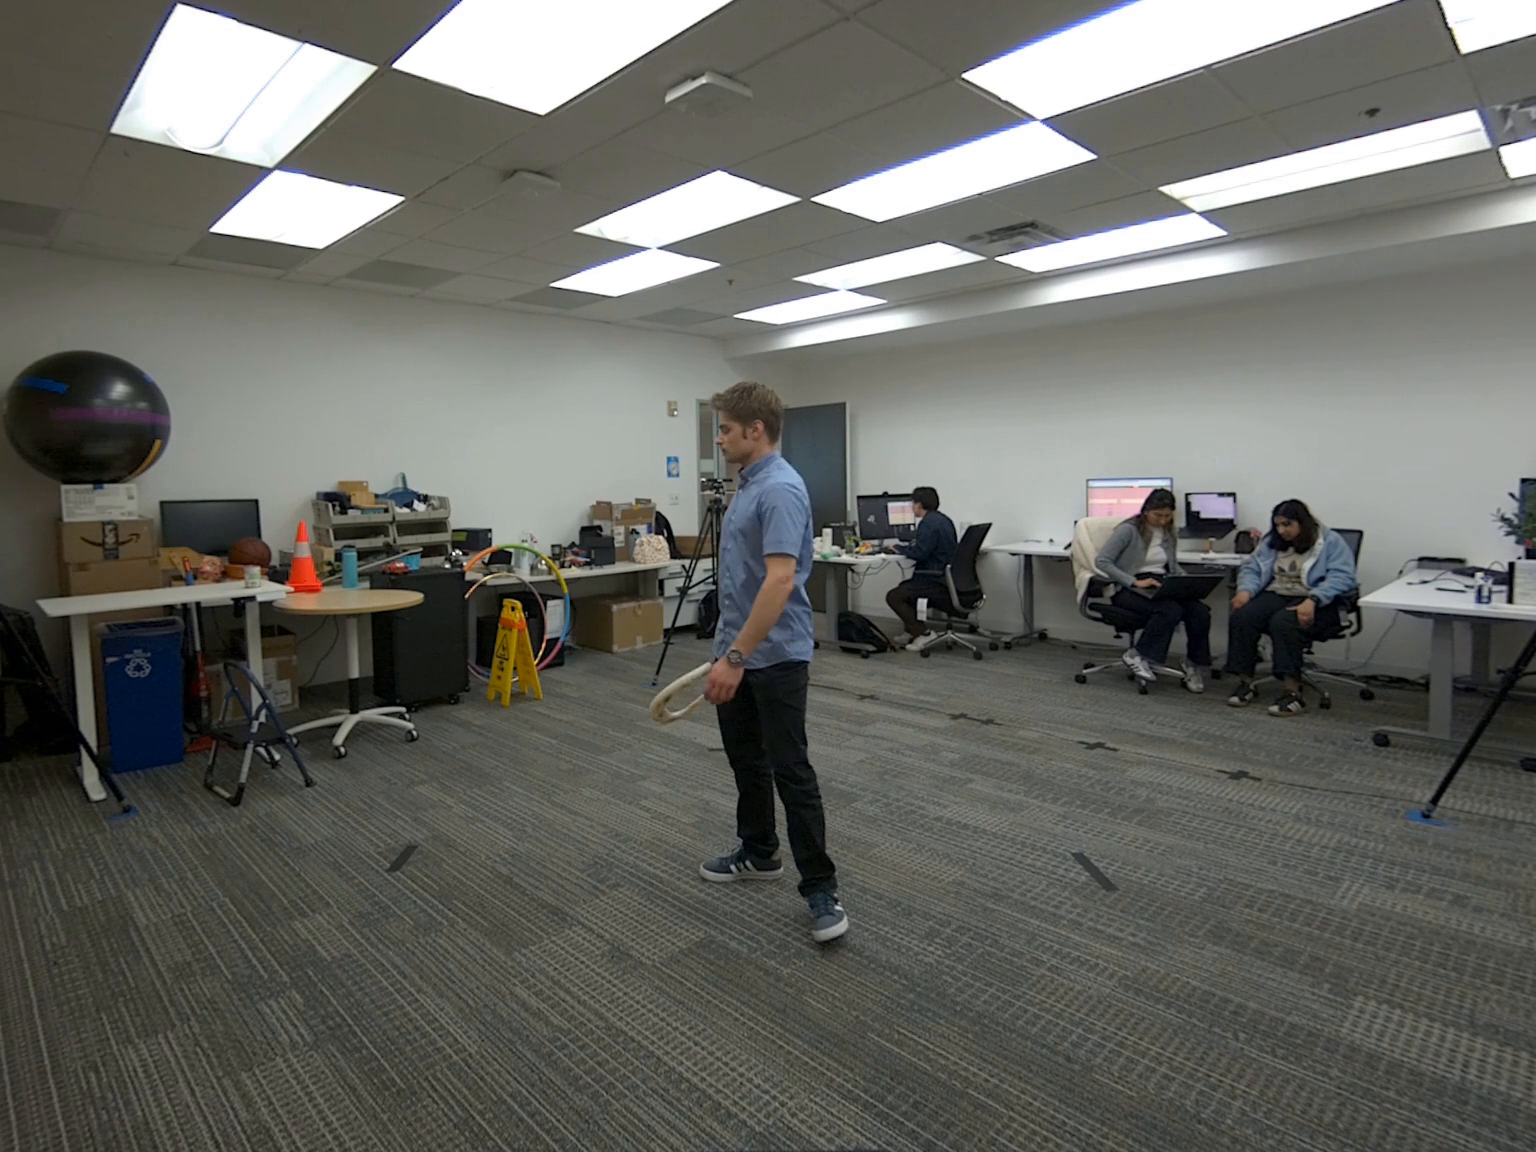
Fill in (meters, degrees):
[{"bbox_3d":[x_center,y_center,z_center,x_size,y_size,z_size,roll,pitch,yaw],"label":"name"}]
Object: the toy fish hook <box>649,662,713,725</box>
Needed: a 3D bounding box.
[{"bbox_3d":[-0.237,0.379,3.203,0.506,0.050,0.216,-38,-32,1],"label":"toy fish hook"}]
